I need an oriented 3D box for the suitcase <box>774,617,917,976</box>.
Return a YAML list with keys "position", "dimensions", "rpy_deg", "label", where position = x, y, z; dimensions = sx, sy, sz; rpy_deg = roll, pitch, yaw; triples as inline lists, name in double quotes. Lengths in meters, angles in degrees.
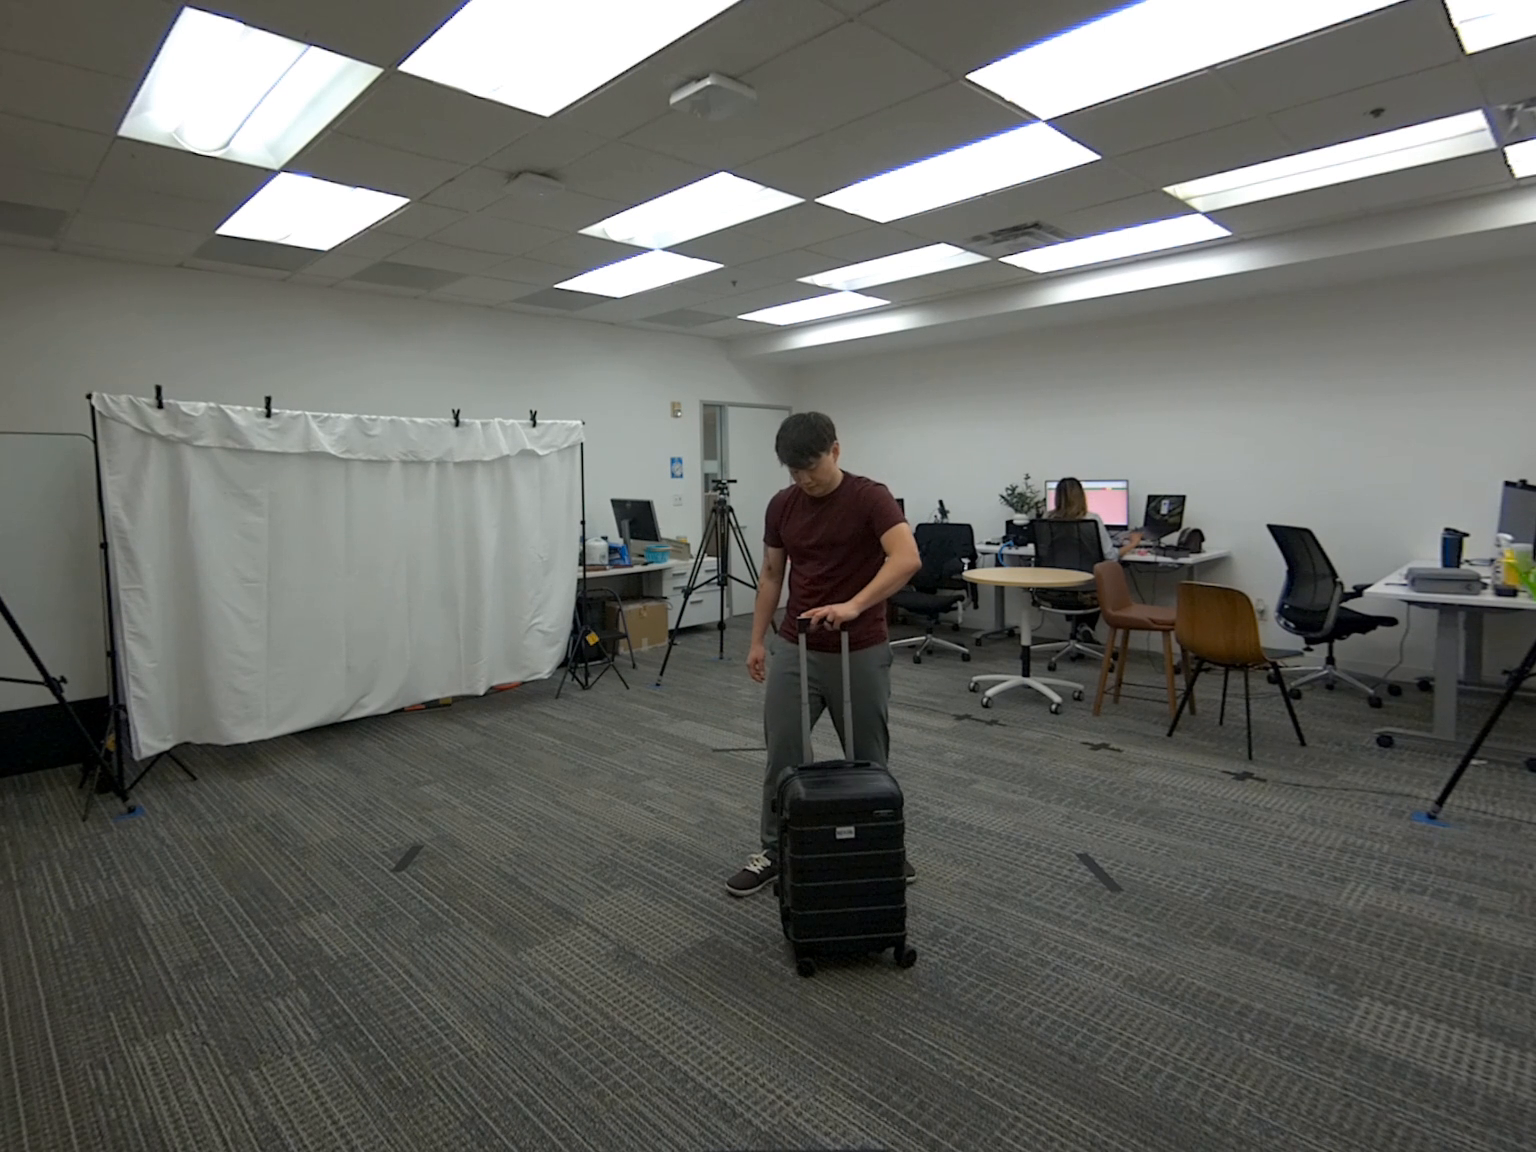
- position: [0.209, 0.638, 2.503]
  dimensions: [0.382, 0.974, 0.259]
  rpy_deg: [-3, 5, -5]
  label: "suitcase"
